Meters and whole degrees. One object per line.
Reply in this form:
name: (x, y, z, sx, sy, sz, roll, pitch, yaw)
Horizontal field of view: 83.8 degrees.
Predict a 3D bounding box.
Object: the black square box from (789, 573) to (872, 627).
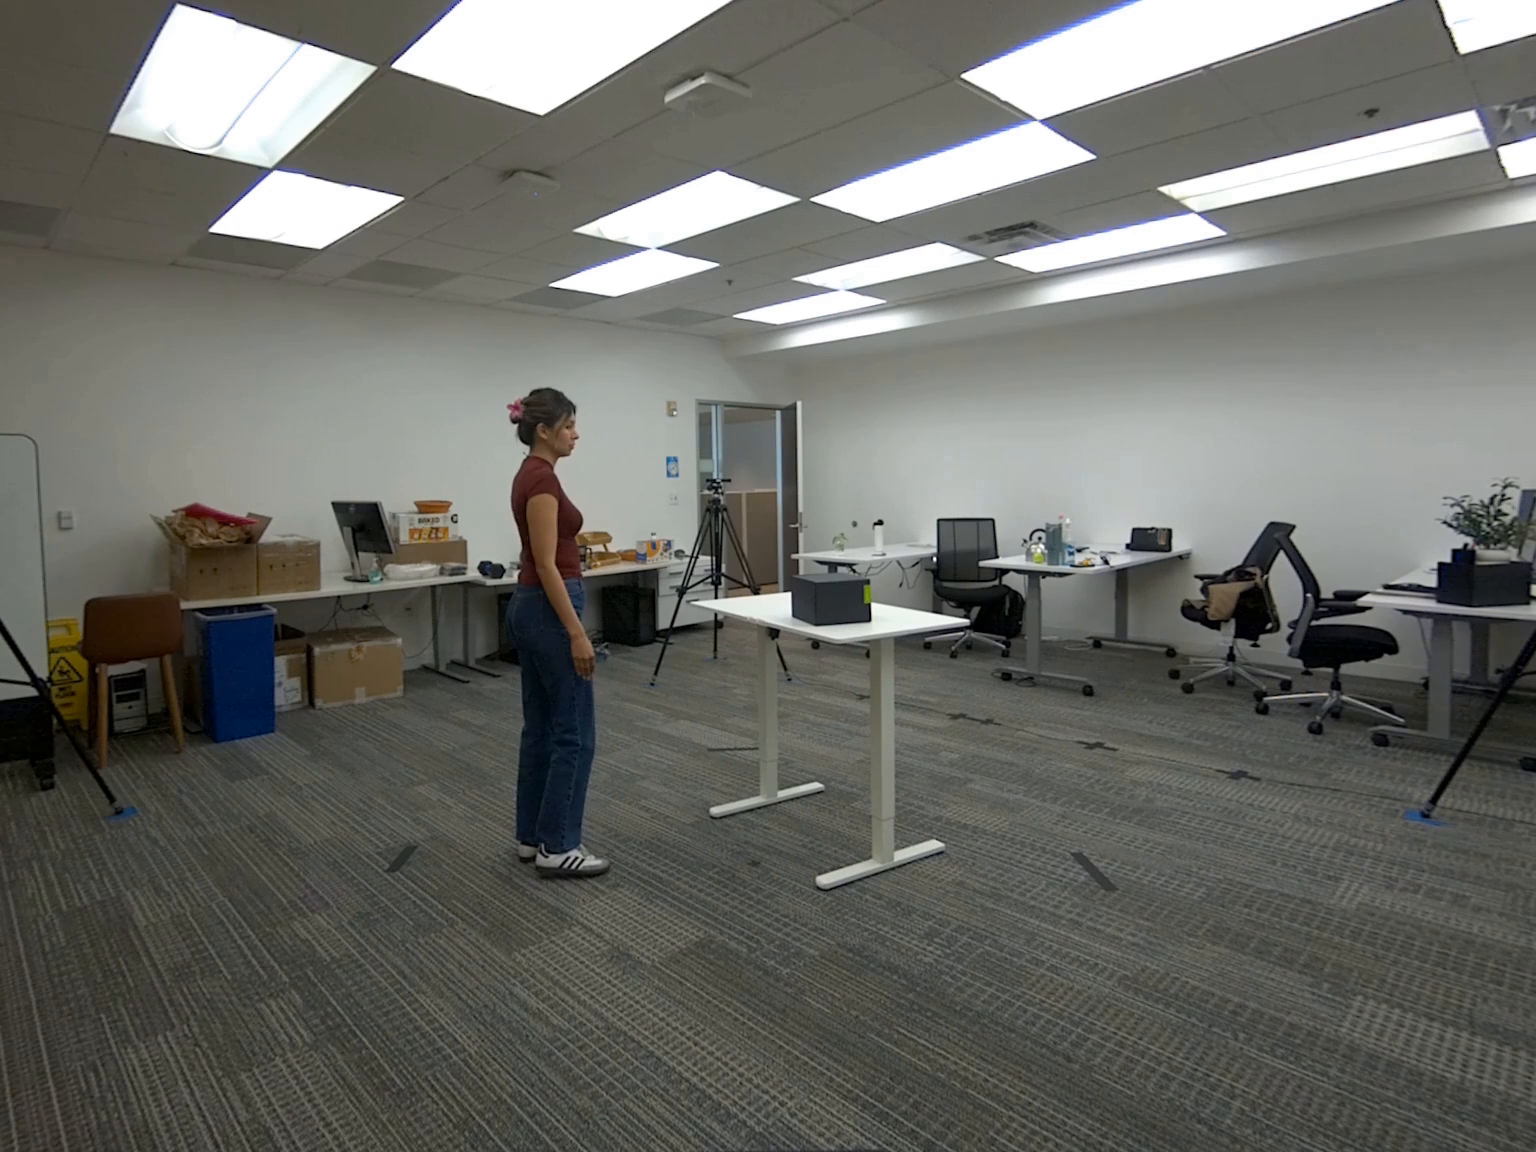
black square box: (0.227, 0.078, 3.096, 0.214, 0.155, 0.232, -3, 6, -17)
